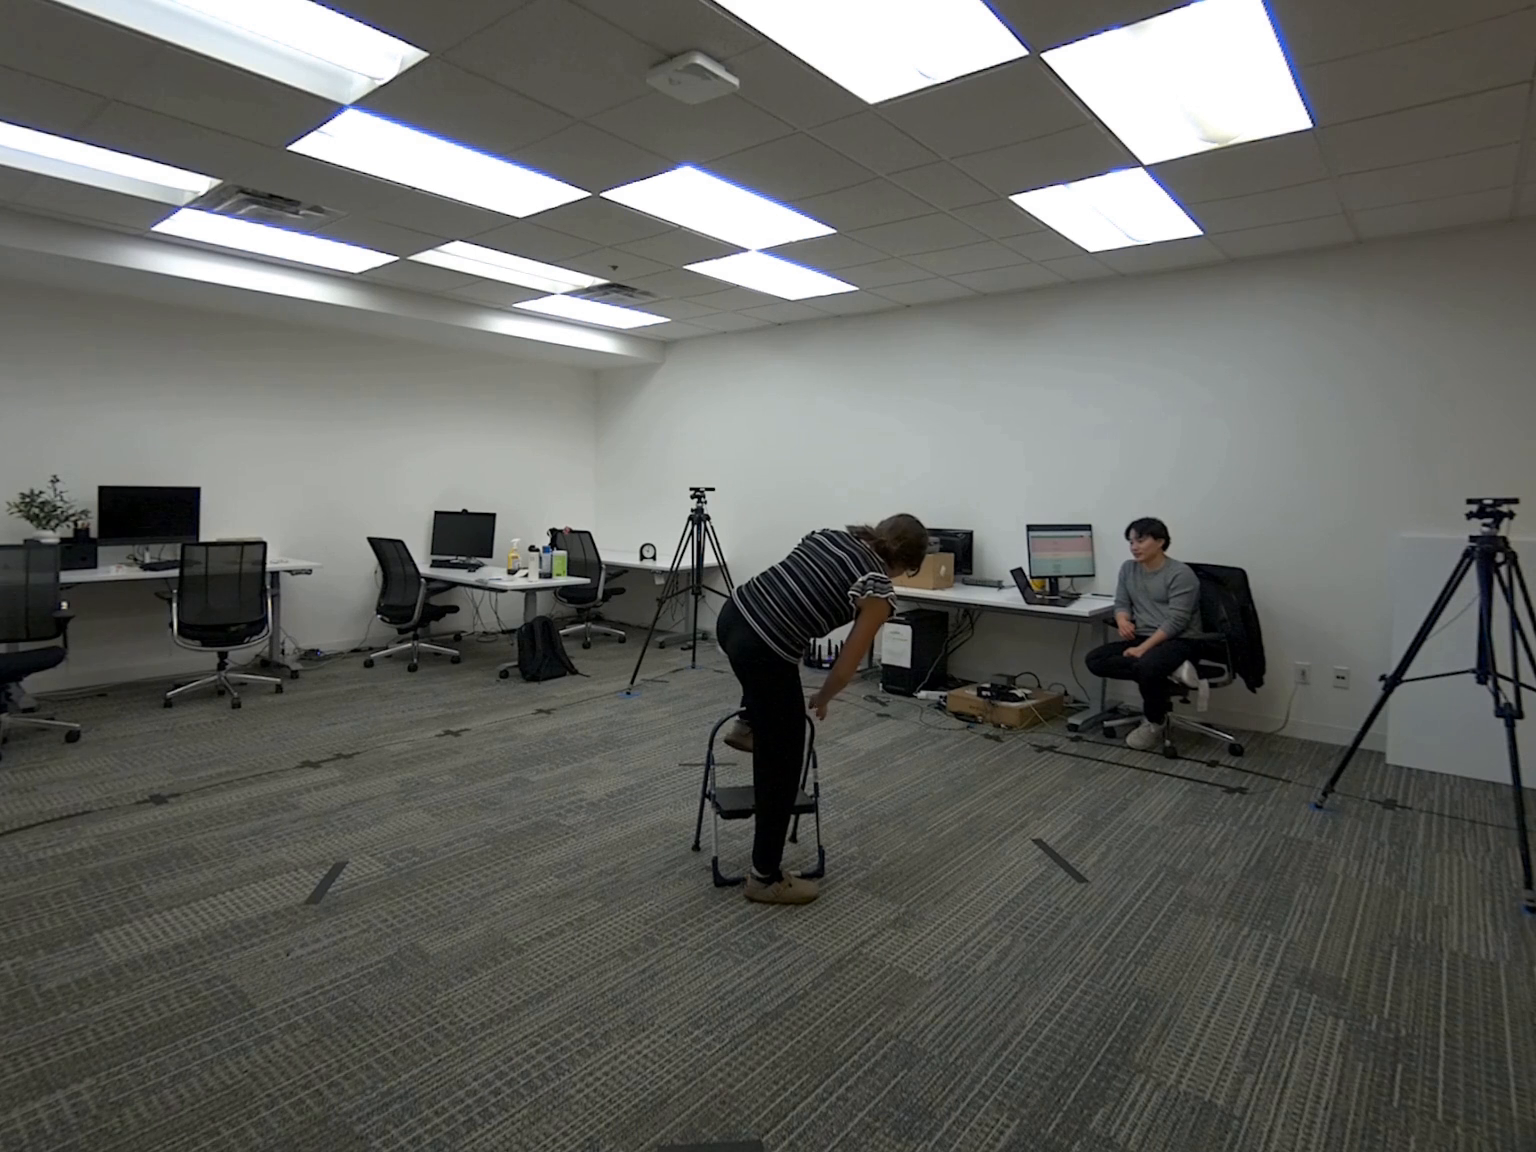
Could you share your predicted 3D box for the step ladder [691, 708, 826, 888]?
[{"bbox_3d":[-0.044,0.765,3.162,0.423,0.604,0.356,0,3,-17],"label":"step ladder"}]
